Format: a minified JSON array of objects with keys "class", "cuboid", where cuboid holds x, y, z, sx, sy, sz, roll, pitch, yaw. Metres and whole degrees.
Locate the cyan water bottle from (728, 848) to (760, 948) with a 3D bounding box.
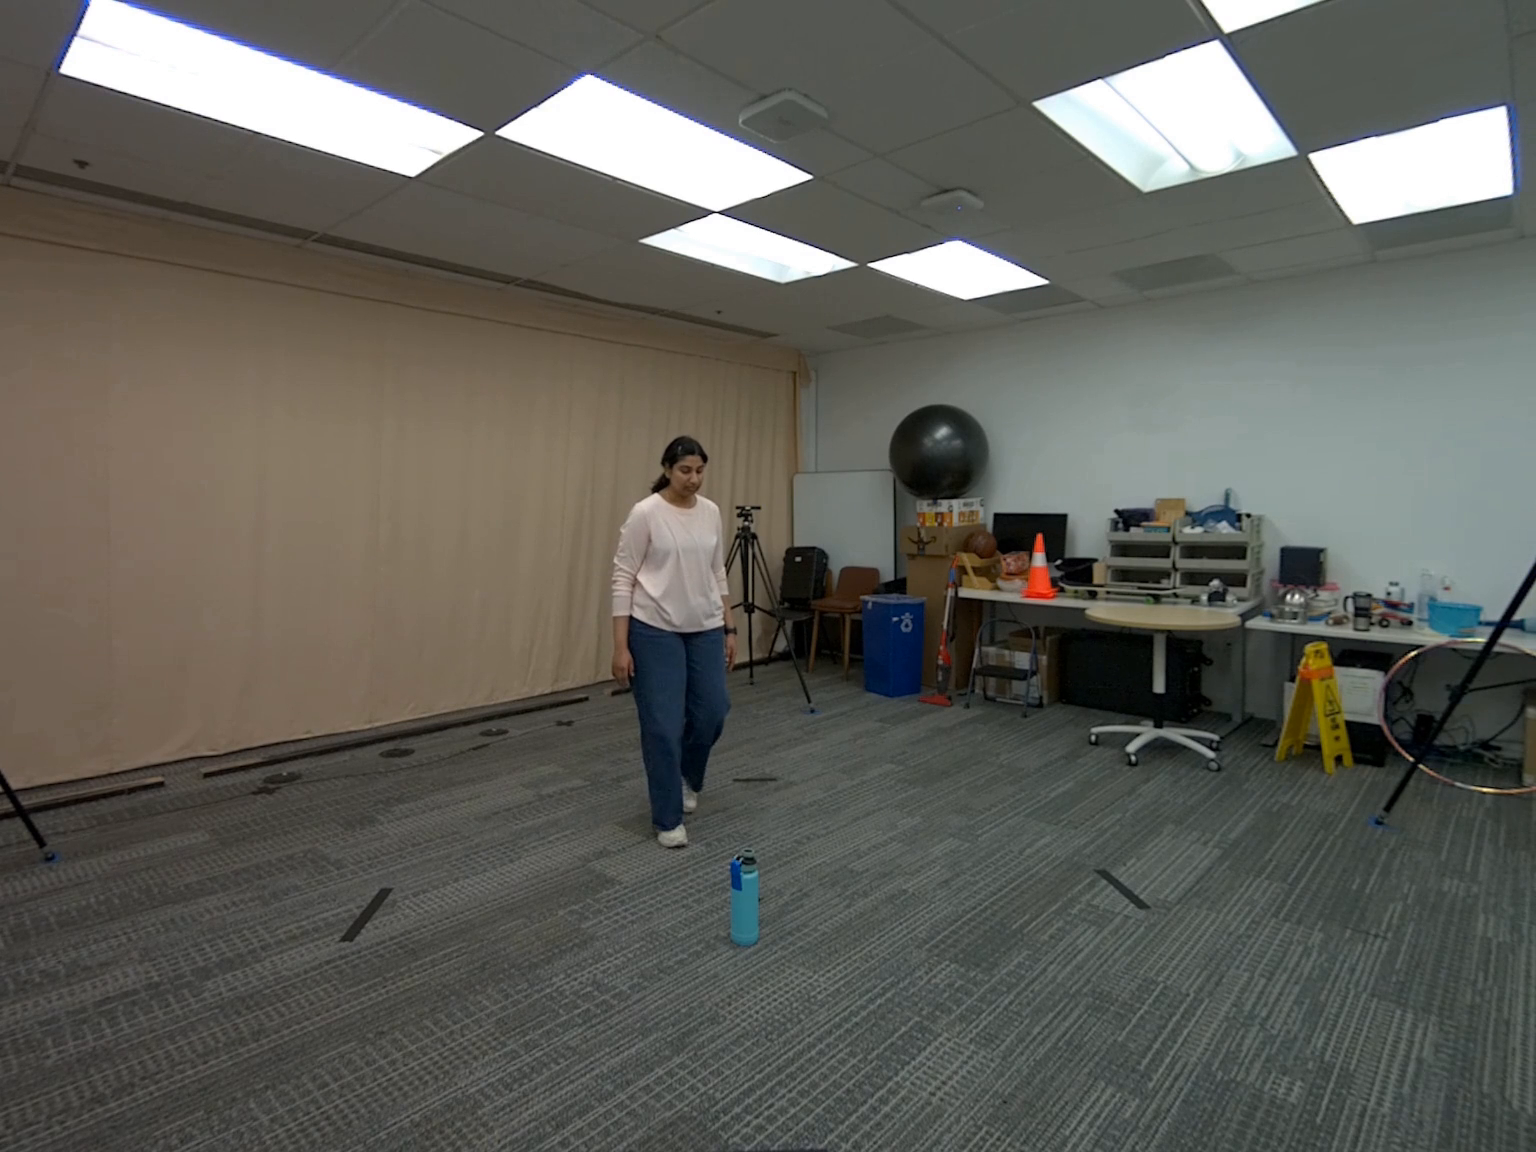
[{"class":"cyan water bottle","cuboid":[-0.075,1.030,2.699,0.092,0.282,0.093,-1,4,-2]}]
